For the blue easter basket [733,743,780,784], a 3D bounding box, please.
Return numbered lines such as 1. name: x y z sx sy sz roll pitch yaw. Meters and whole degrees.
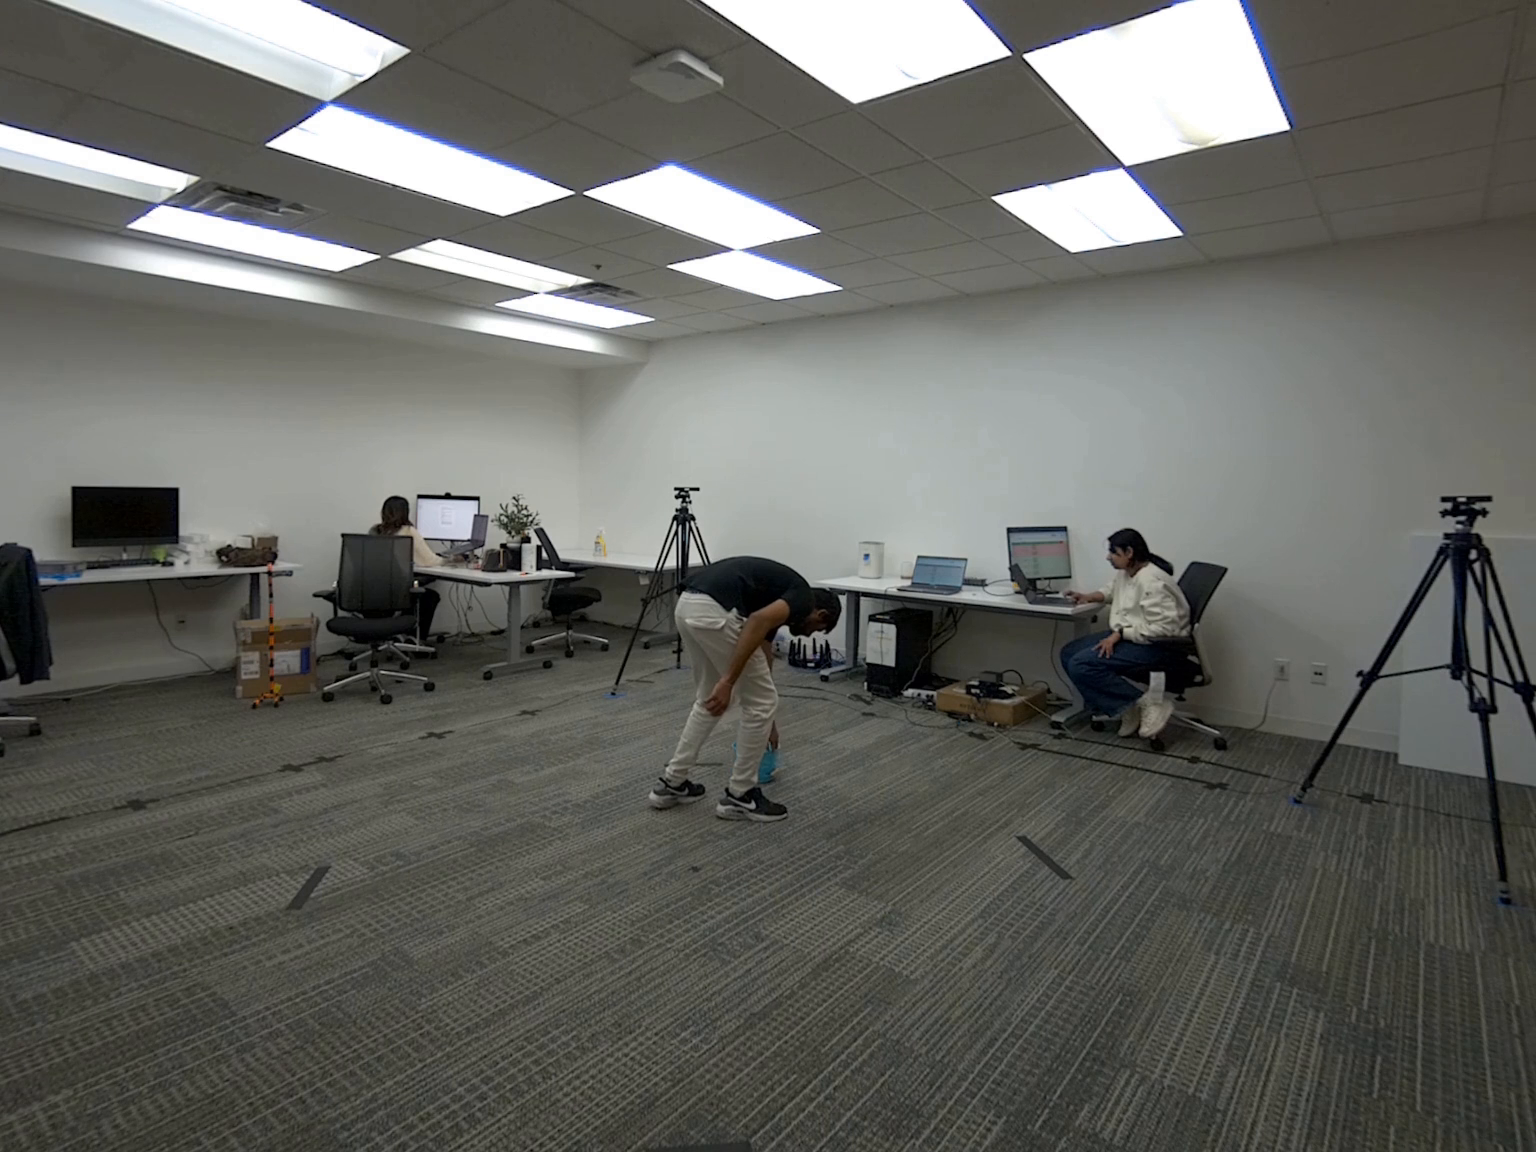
1. blue easter basket: -0.067 0.889 4.108 0.243 0.155 0.244 -1 4 -2
